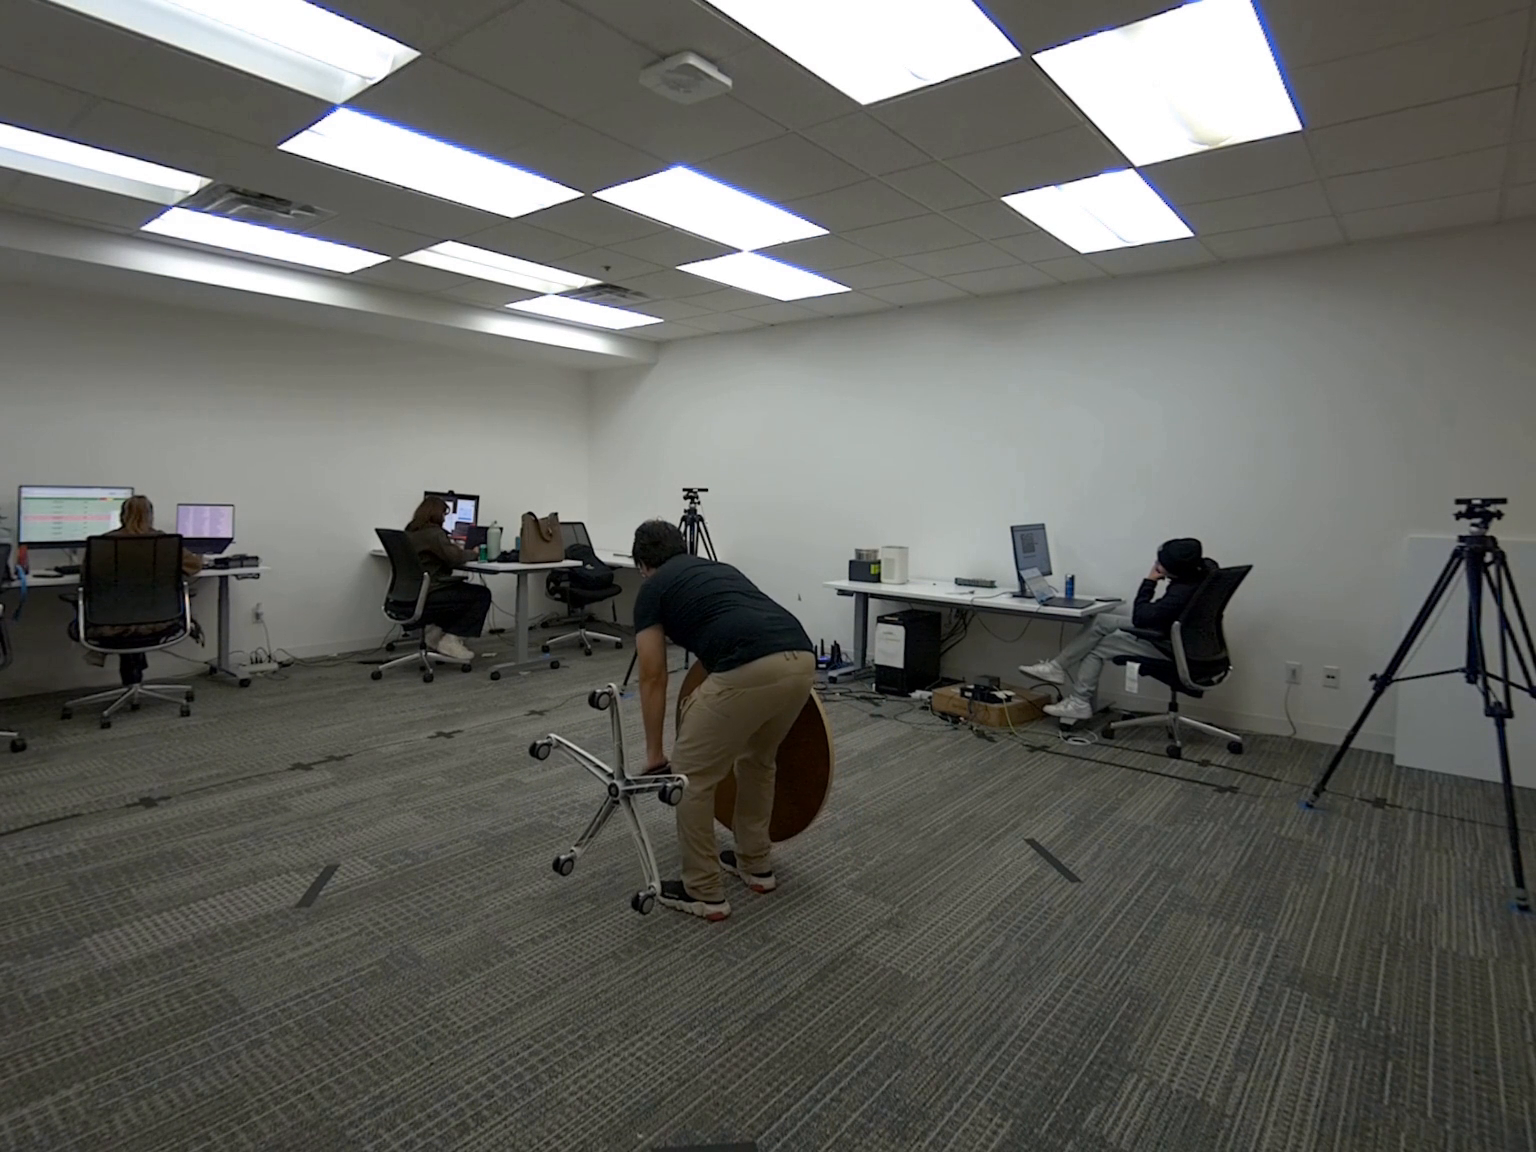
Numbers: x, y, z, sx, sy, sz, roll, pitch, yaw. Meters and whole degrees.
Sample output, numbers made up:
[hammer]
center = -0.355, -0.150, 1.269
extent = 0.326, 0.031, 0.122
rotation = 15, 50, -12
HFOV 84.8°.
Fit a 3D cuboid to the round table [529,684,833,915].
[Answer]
[round table]
center = -0.318, 0.659, 2.990
extent = 0.811, 0.782, 0.764
rotation = 4, 6, 39
